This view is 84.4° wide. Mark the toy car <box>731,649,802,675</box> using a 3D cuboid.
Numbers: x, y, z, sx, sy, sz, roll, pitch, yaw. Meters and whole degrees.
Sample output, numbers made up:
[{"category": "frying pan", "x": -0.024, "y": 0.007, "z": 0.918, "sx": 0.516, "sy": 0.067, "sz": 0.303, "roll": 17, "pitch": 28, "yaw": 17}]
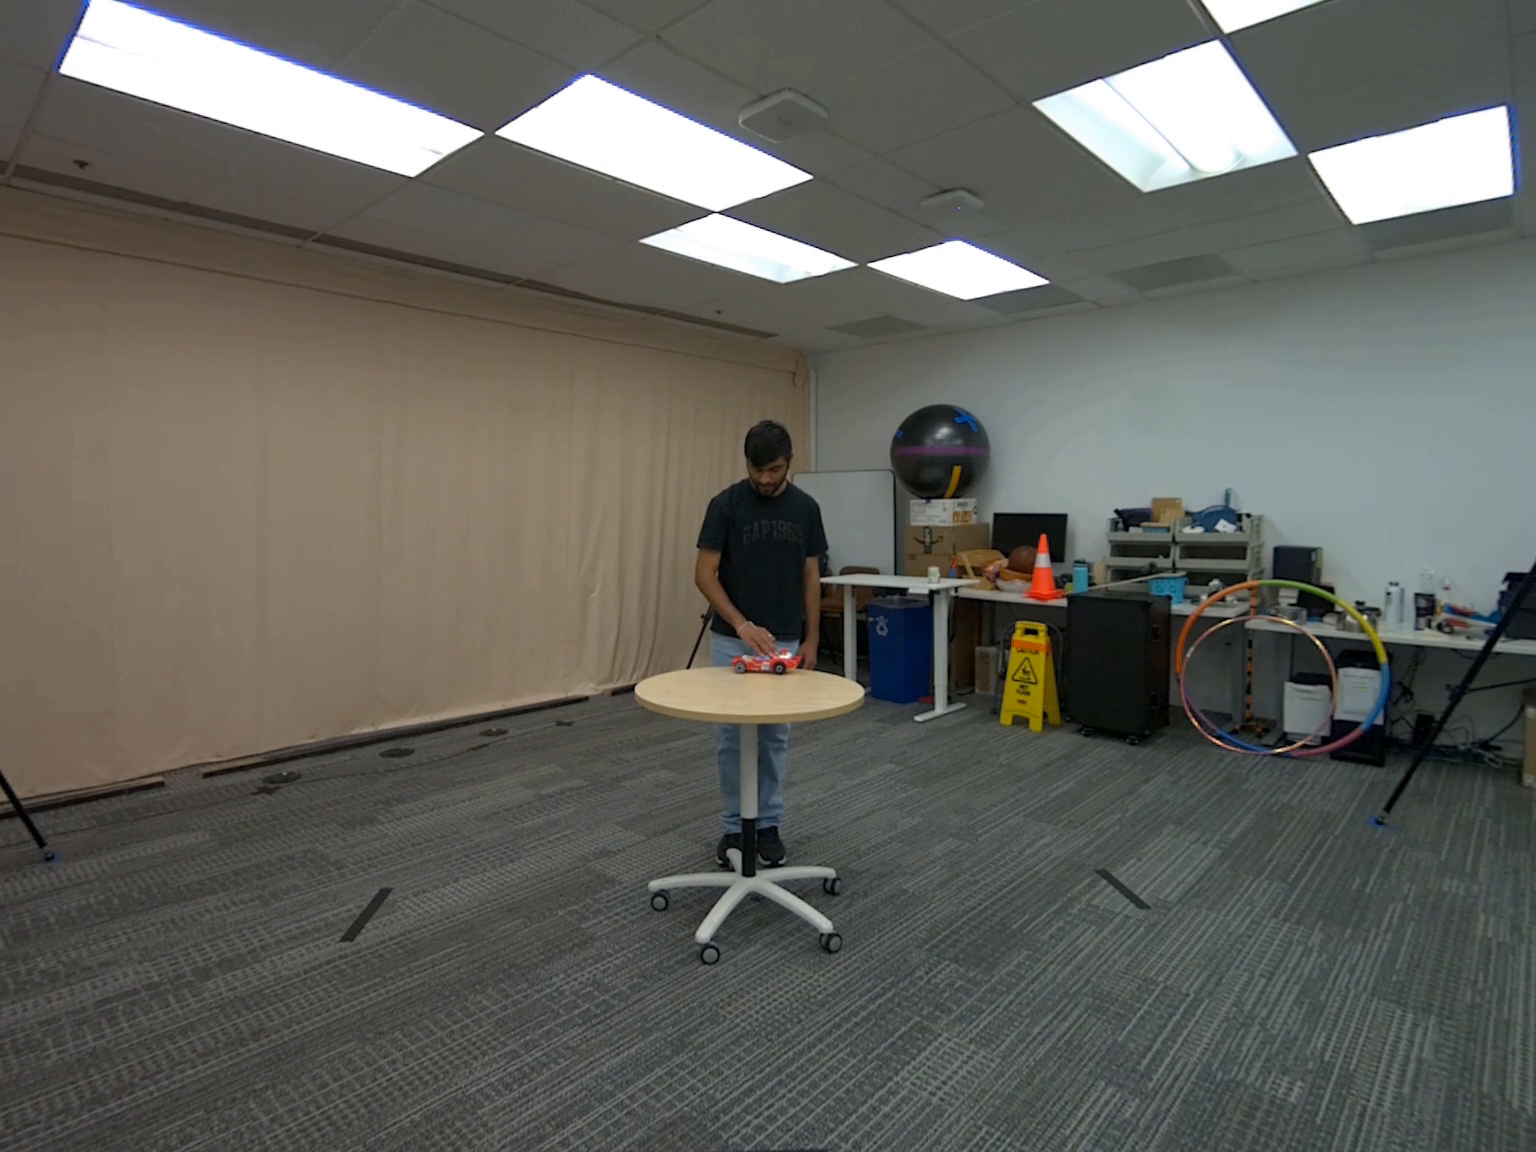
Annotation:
[{"category": "toy car", "x": 0.003, "y": 0.321, "z": 3.099, "sx": 0.257, "sy": 0.083, "sz": 0.129, "roll": -10, "pitch": 1, "yaw": 11}]
